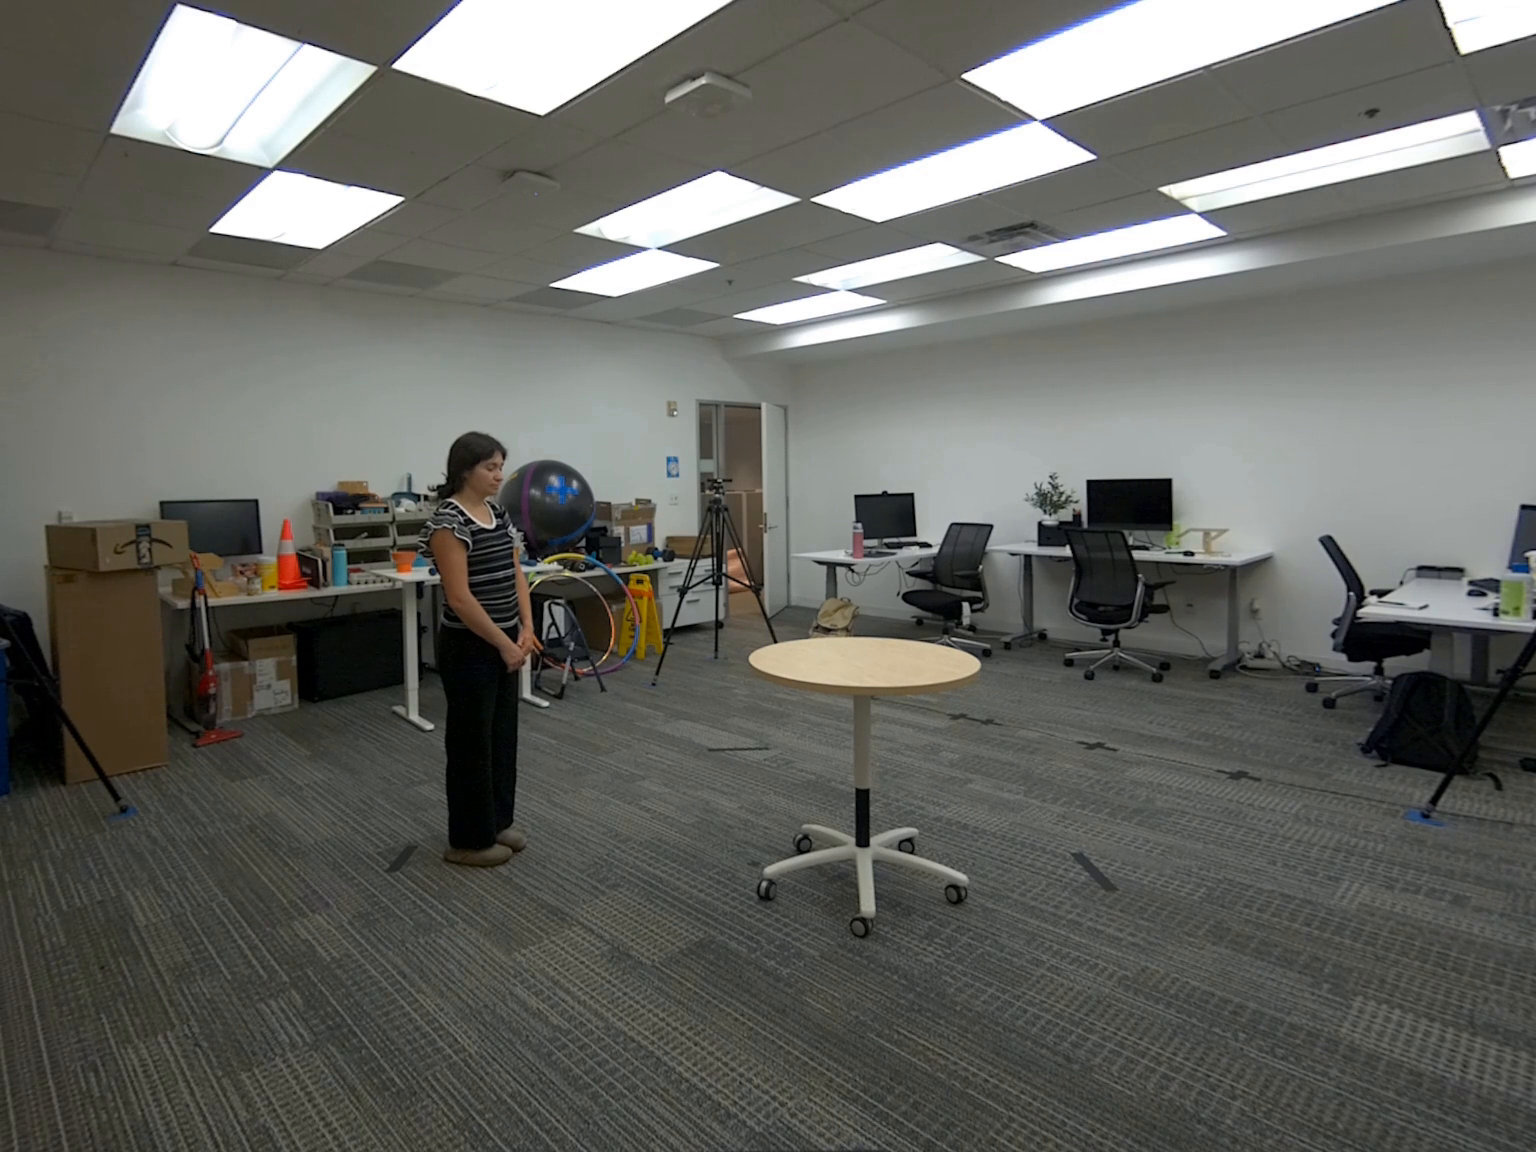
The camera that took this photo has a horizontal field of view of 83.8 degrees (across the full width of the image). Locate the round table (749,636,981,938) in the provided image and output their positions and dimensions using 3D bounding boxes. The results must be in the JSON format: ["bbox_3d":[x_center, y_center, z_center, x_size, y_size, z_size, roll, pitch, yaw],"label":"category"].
[{"bbox_3d":[0.314,0.669,2.901,0.763,0.791,0.768,-1,5,-2],"label":"round table"}]
